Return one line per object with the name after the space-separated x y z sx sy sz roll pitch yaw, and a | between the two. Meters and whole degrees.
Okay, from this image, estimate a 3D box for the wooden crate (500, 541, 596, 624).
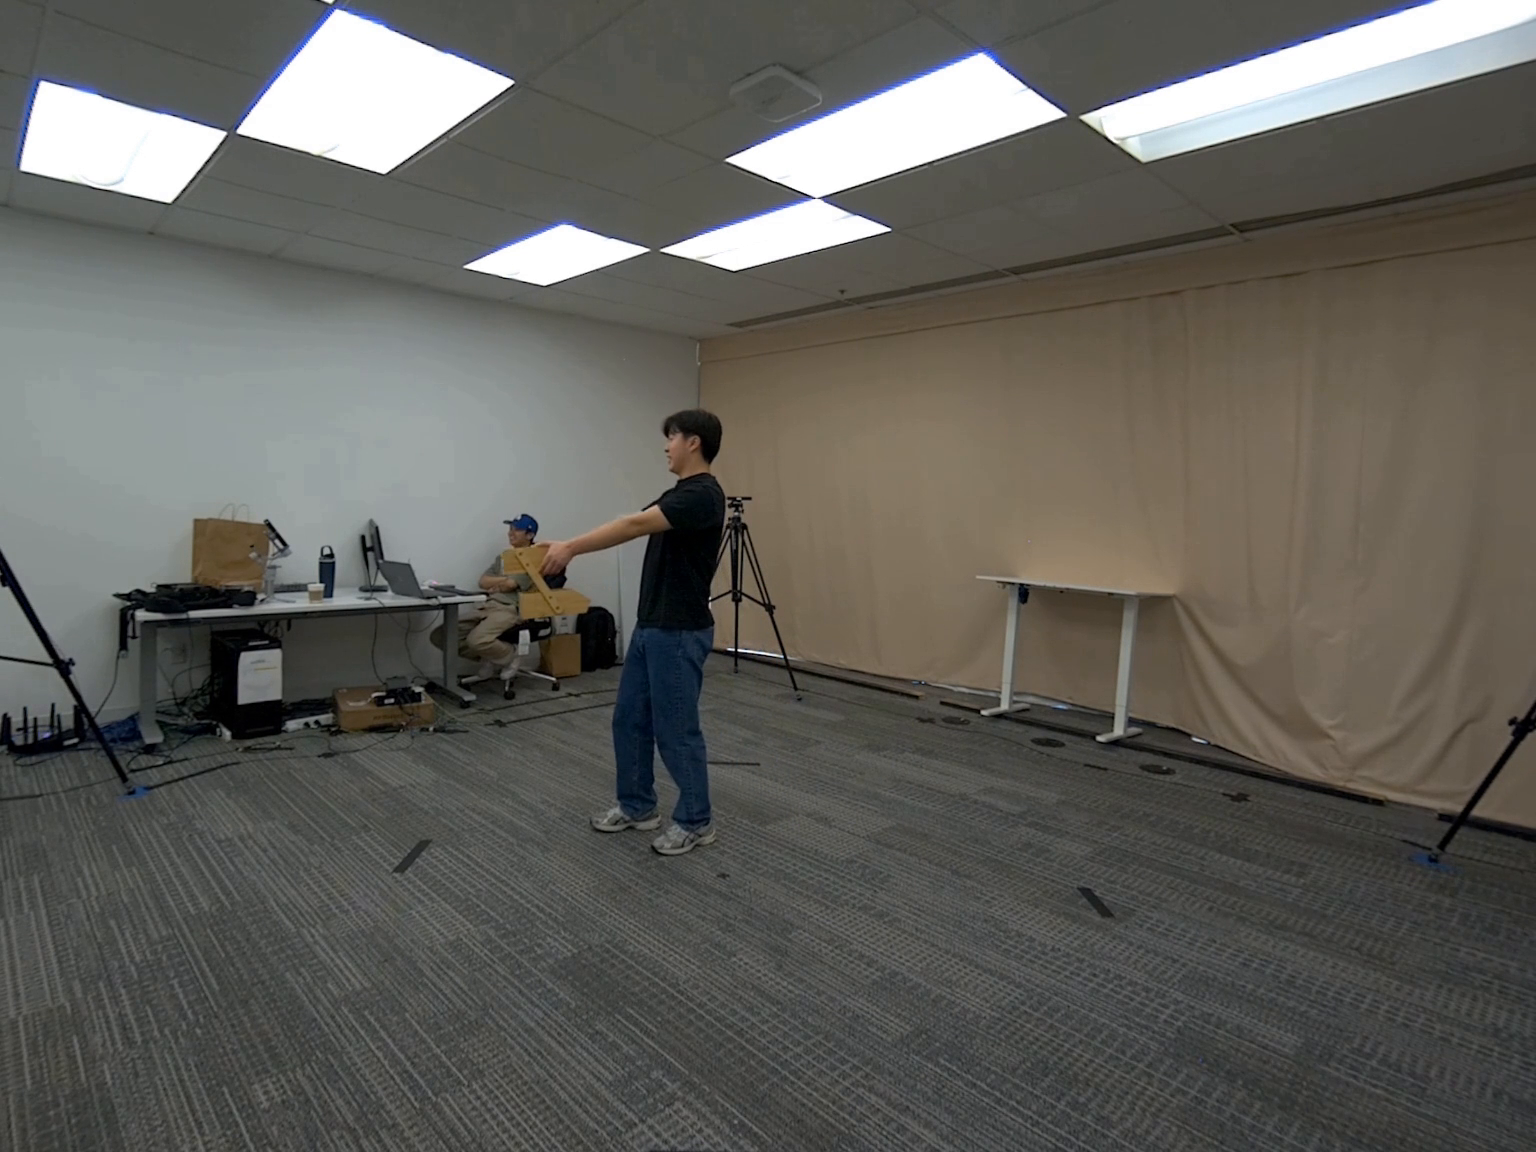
-0.845 0.014 3.219 0.298 0.273 0.329 -6 1 -19 | wooden crate
